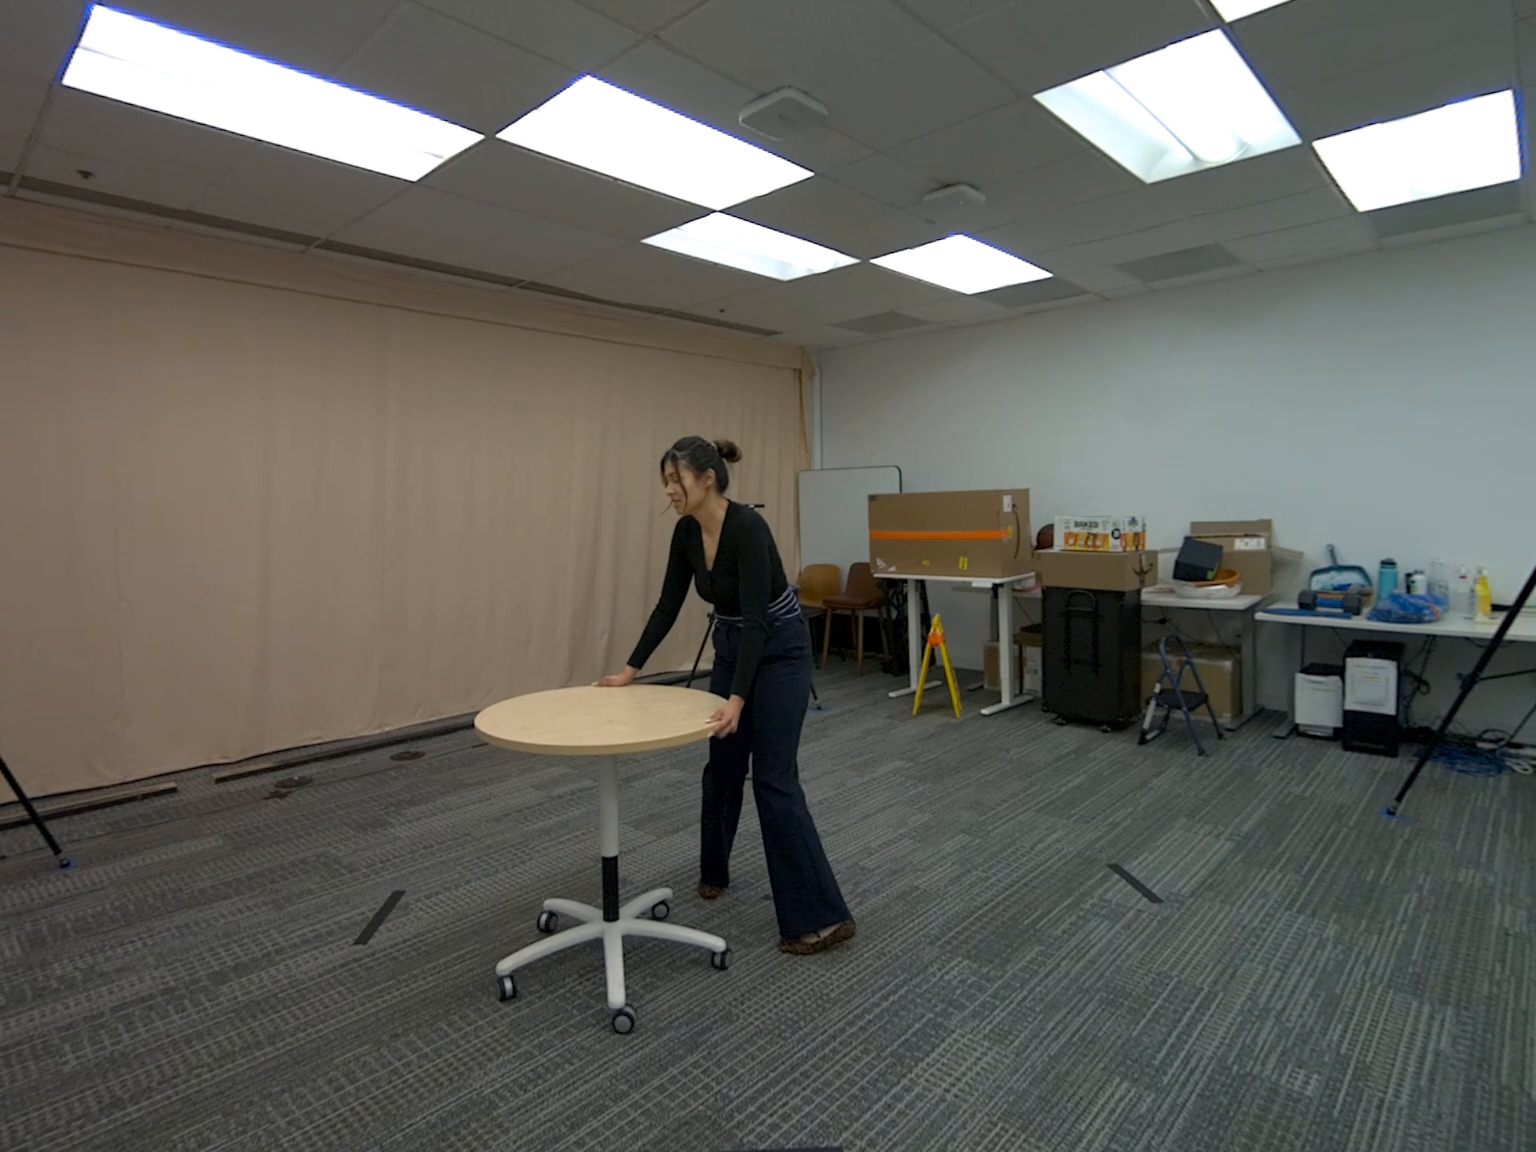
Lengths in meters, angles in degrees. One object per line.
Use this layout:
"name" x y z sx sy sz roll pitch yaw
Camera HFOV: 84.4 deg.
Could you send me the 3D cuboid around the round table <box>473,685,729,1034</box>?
"round table" -0.471 0.799 2.553 0.763 0.792 0.766 -1 3 -2
